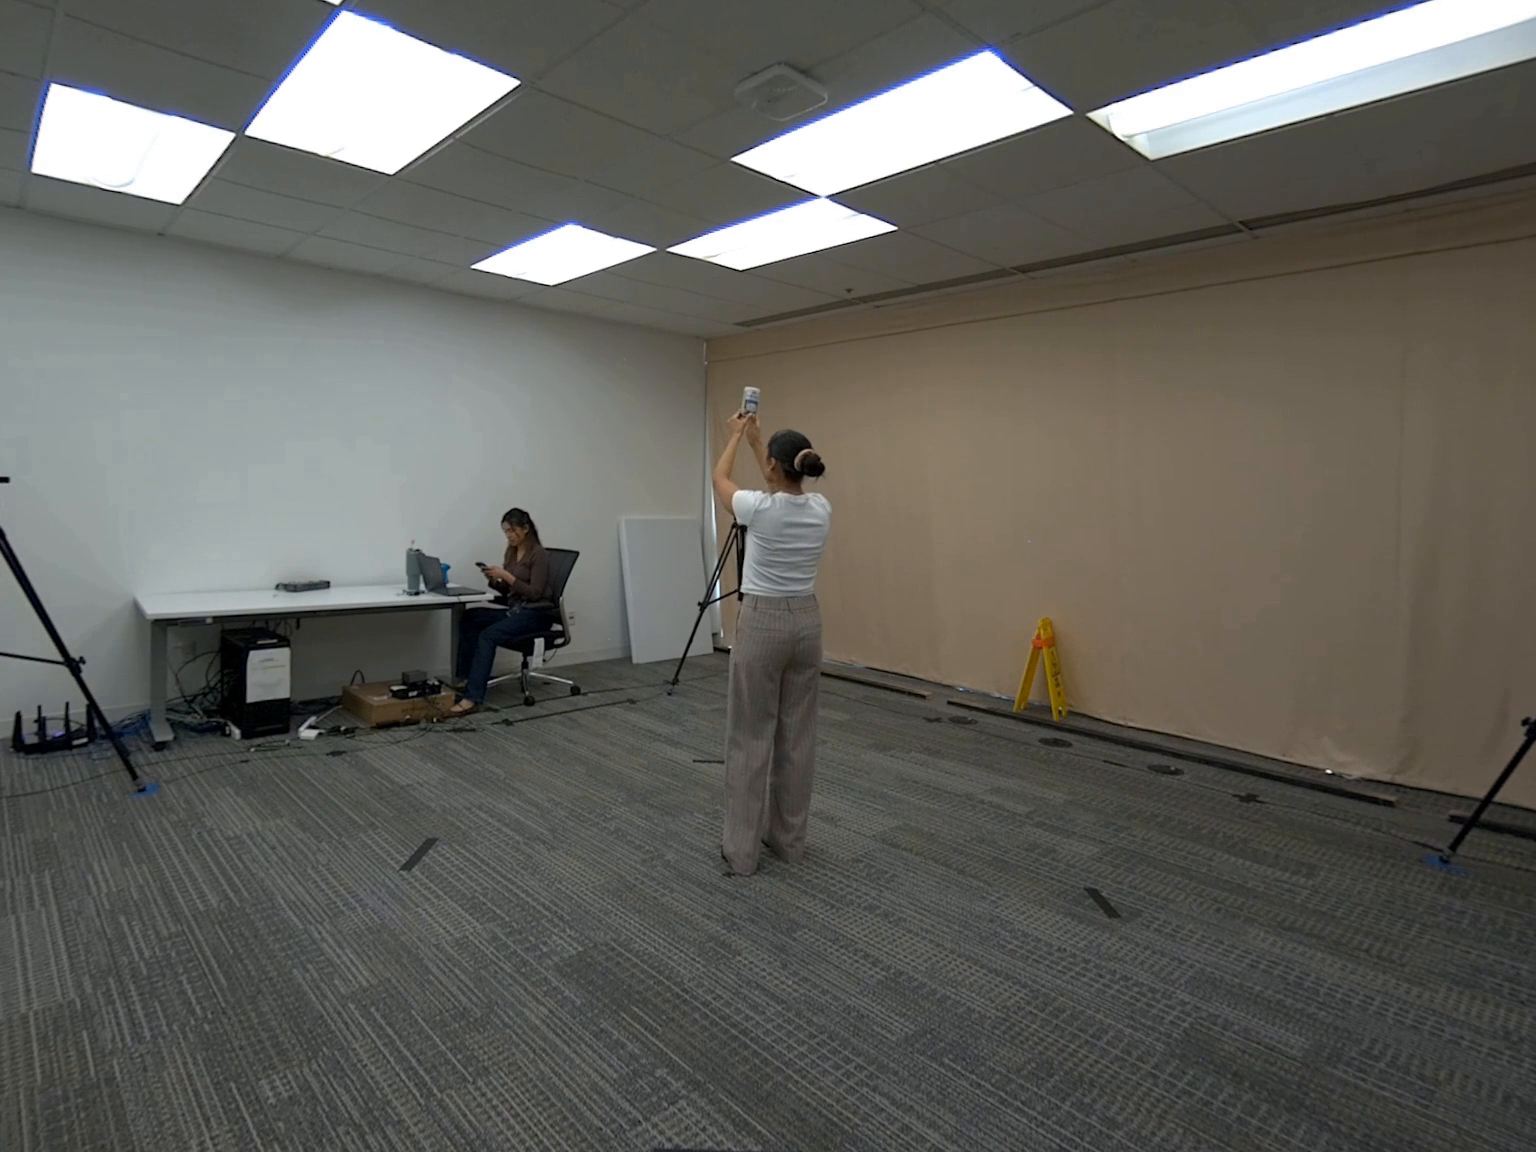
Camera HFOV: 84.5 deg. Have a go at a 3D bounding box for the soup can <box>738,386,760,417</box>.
[{"bbox_3d":[-0.080,-0.727,3.515,0.067,0.121,0.067,8,5,-2],"label":"soup can"}]
